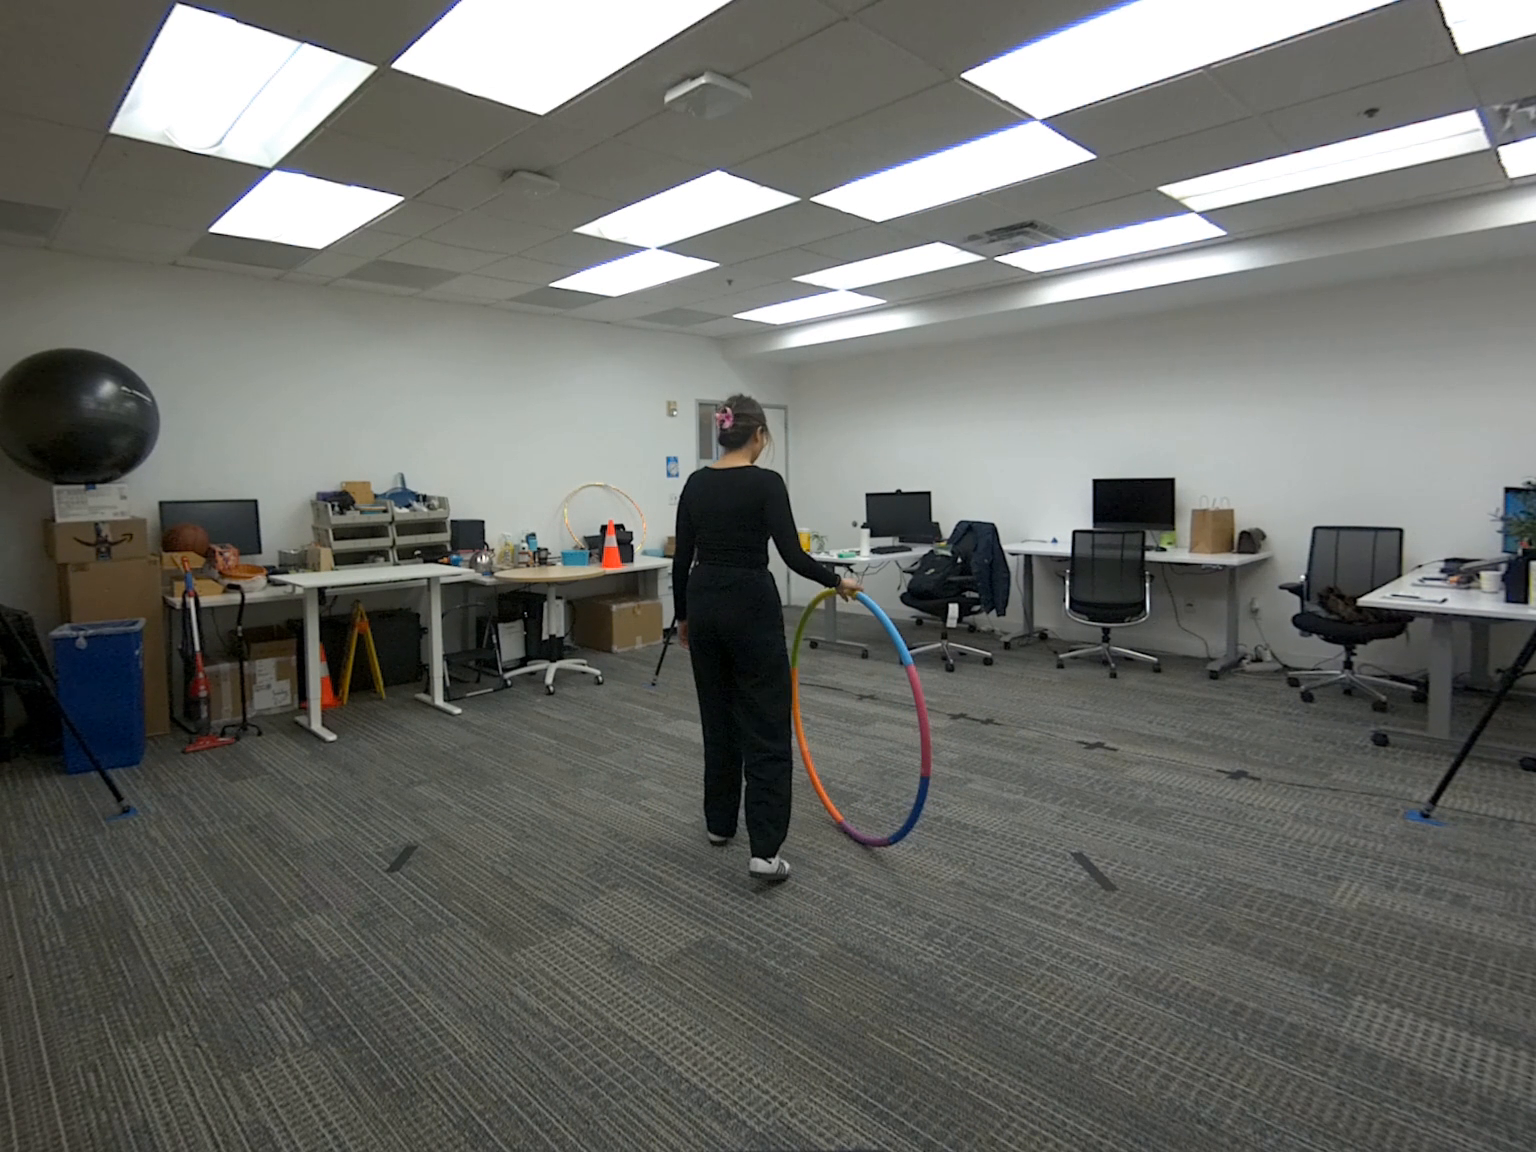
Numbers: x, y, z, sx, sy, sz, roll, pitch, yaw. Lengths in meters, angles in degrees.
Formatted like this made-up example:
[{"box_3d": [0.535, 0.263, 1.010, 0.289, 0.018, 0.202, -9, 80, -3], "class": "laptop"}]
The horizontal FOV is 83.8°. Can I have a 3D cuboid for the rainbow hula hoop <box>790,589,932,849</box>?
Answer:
[{"box_3d": [0.312, 0.534, 3.275, 0.035, 0.974, 1.002, -4, 6, -24], "class": "rainbow hula hoop"}]
